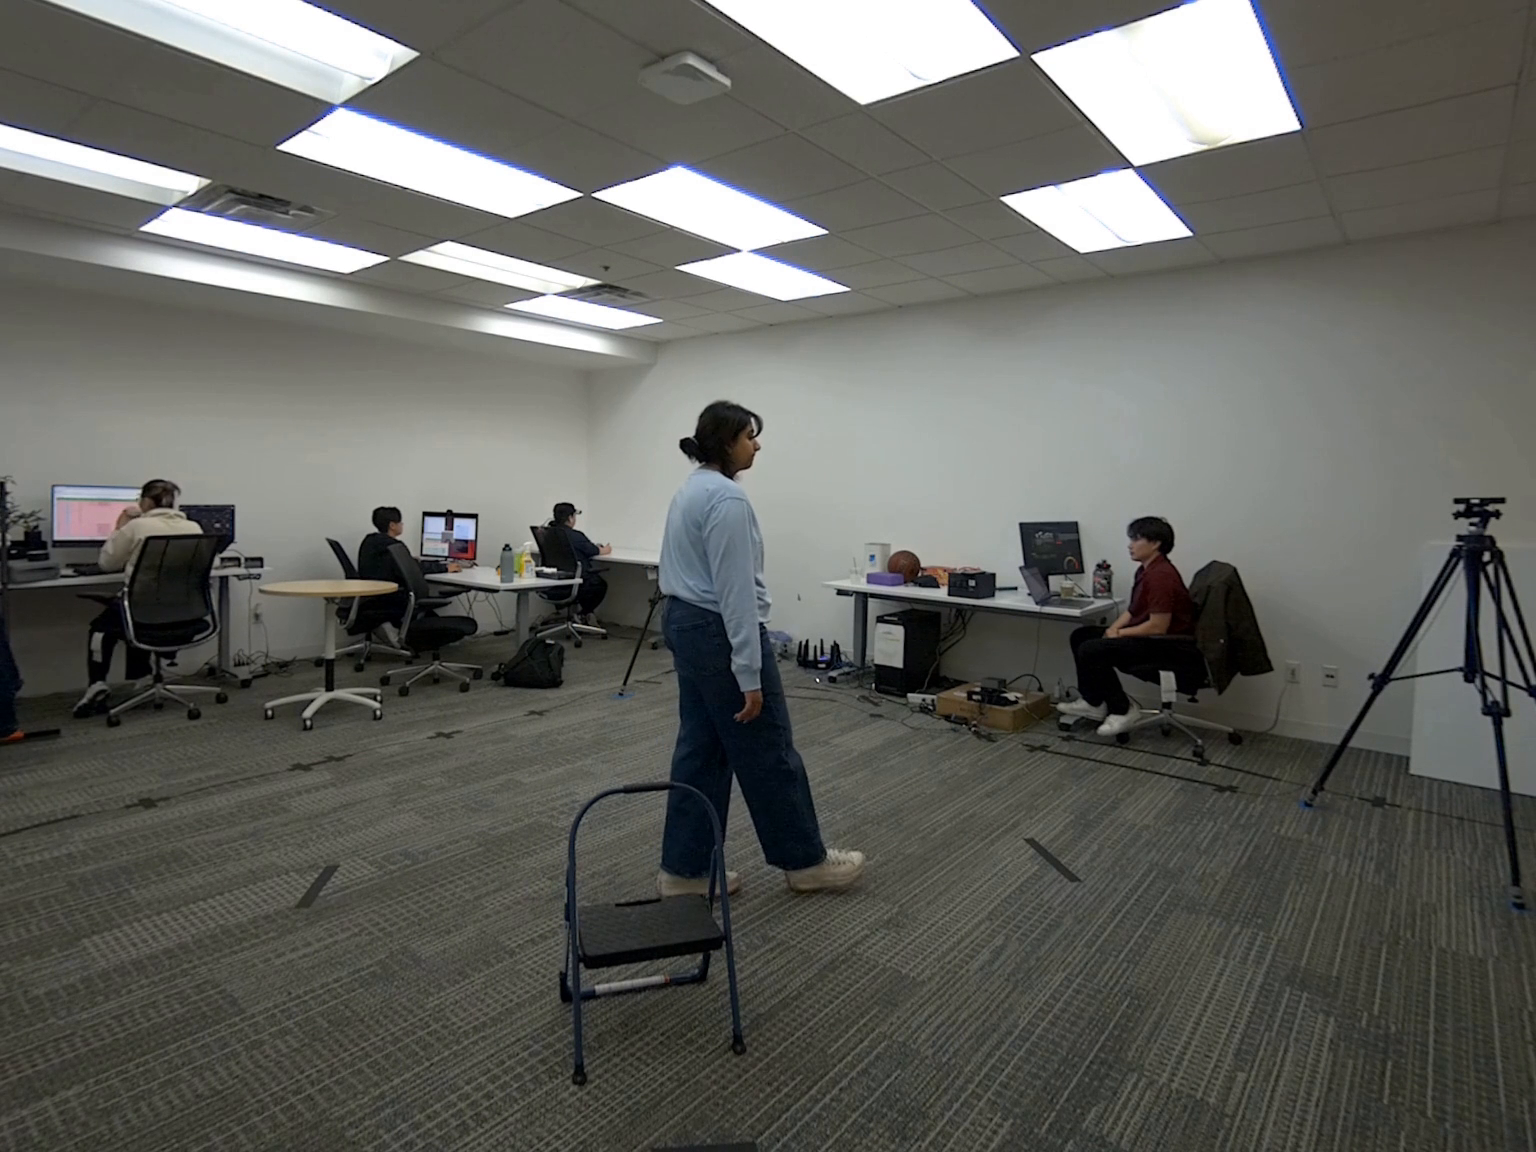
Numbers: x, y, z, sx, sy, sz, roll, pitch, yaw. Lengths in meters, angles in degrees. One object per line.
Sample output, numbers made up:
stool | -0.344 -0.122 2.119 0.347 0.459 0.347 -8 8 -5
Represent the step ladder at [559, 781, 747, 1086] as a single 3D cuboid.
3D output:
step ladder | -0.315 0.862 2.185 0.422 0.604 0.357 -1 4 -19
